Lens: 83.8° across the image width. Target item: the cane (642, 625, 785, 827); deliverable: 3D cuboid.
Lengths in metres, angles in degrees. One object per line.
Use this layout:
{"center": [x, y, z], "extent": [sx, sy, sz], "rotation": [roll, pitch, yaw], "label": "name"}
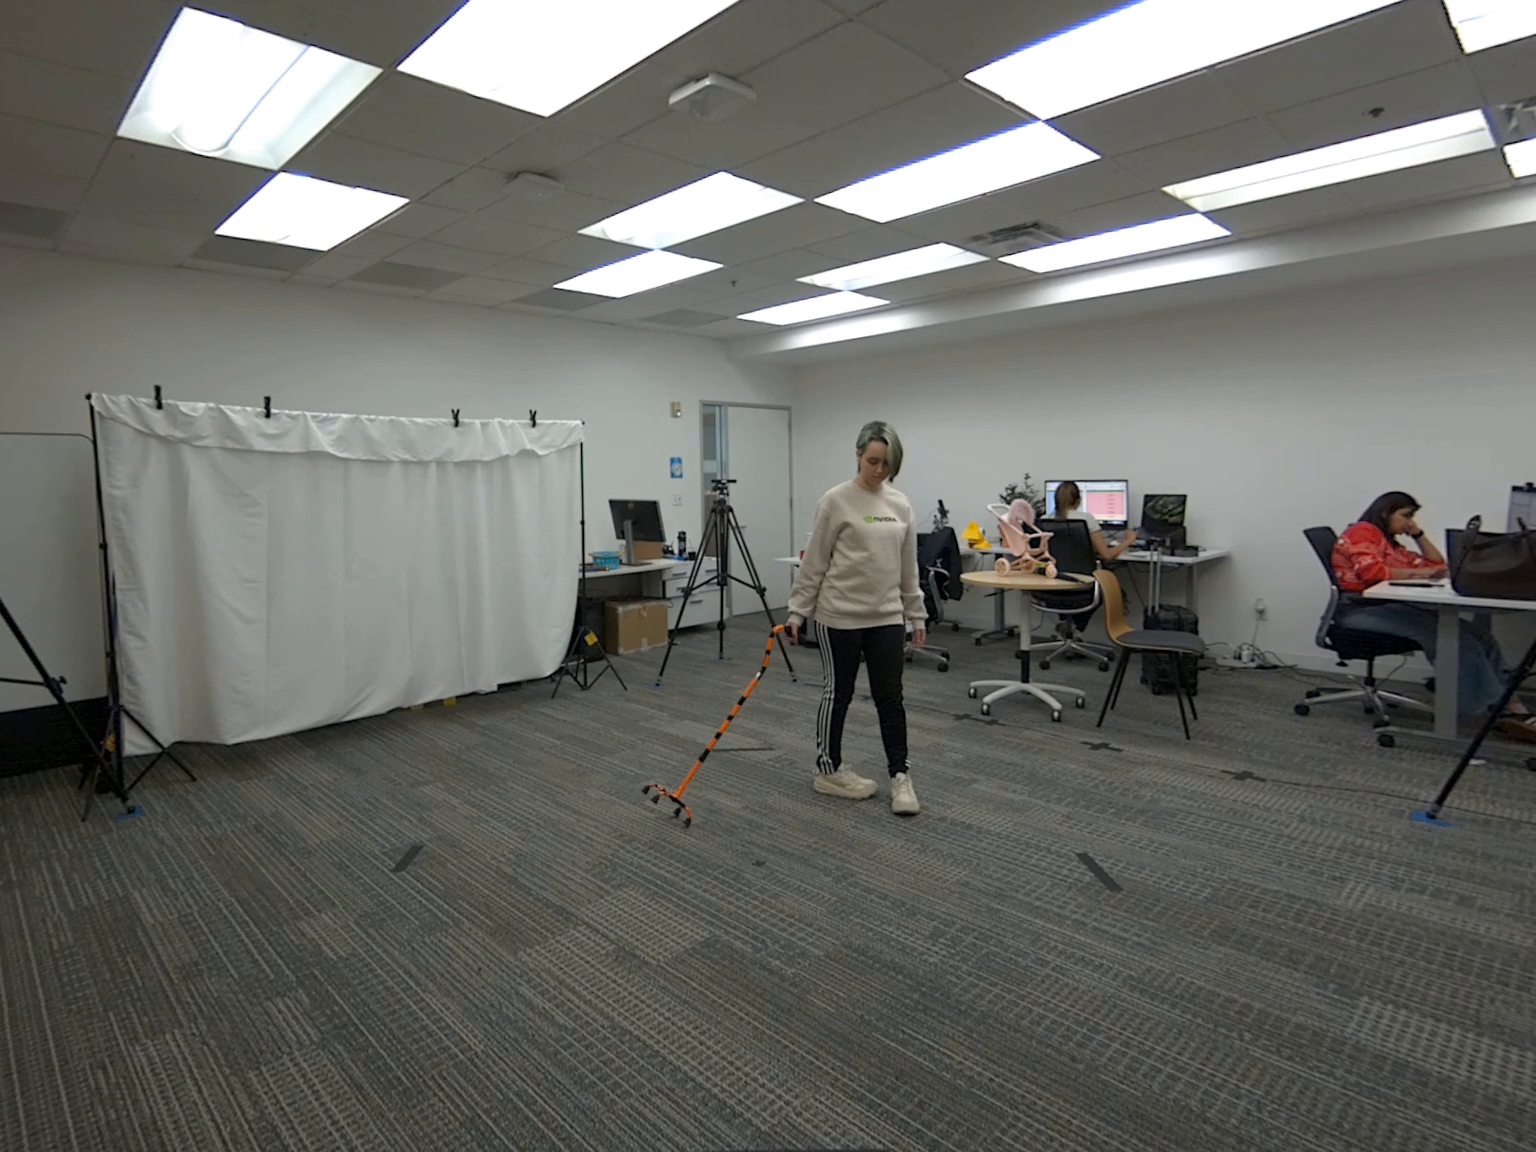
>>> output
{"center": [-0.169, 0.587, 3.565], "extent": [0.201, 0.910, 0.155], "rotation": [39, -13, -21], "label": "cane"}
